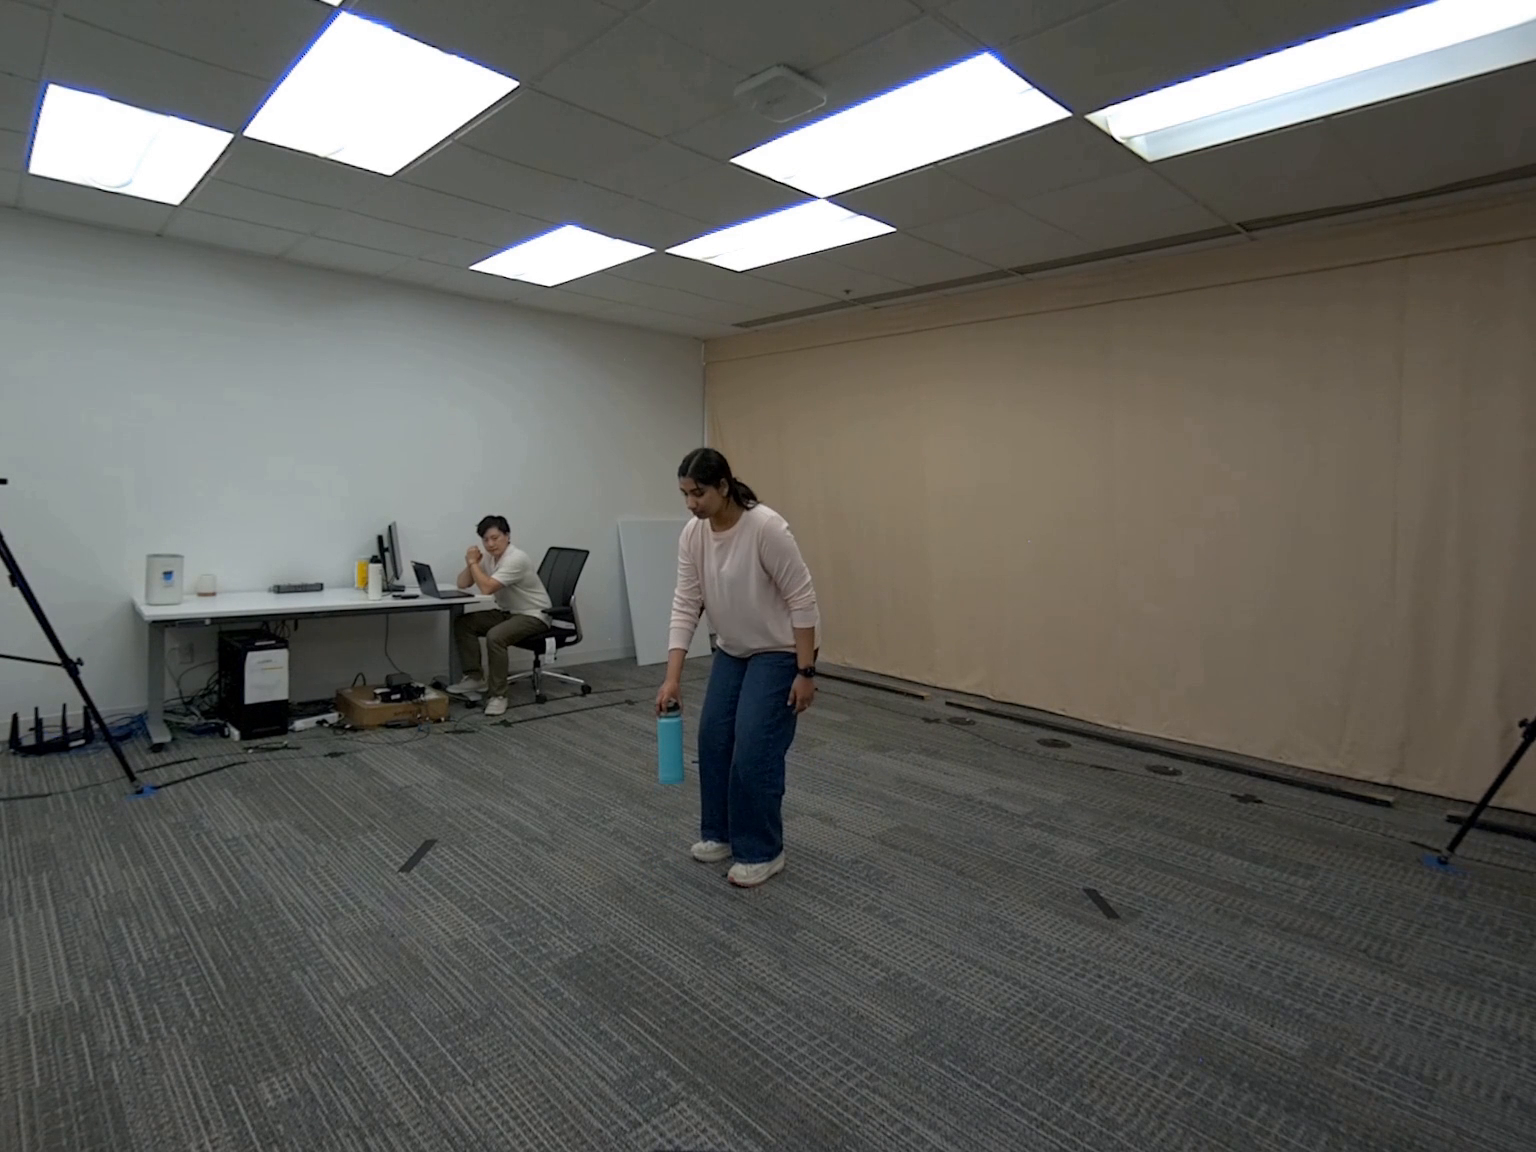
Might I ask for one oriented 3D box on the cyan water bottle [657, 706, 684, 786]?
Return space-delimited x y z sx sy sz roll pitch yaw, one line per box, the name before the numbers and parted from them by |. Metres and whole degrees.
cyan water bottle | -0.353 0.582 2.972 0.092 0.283 0.092 -1 -1 -1
